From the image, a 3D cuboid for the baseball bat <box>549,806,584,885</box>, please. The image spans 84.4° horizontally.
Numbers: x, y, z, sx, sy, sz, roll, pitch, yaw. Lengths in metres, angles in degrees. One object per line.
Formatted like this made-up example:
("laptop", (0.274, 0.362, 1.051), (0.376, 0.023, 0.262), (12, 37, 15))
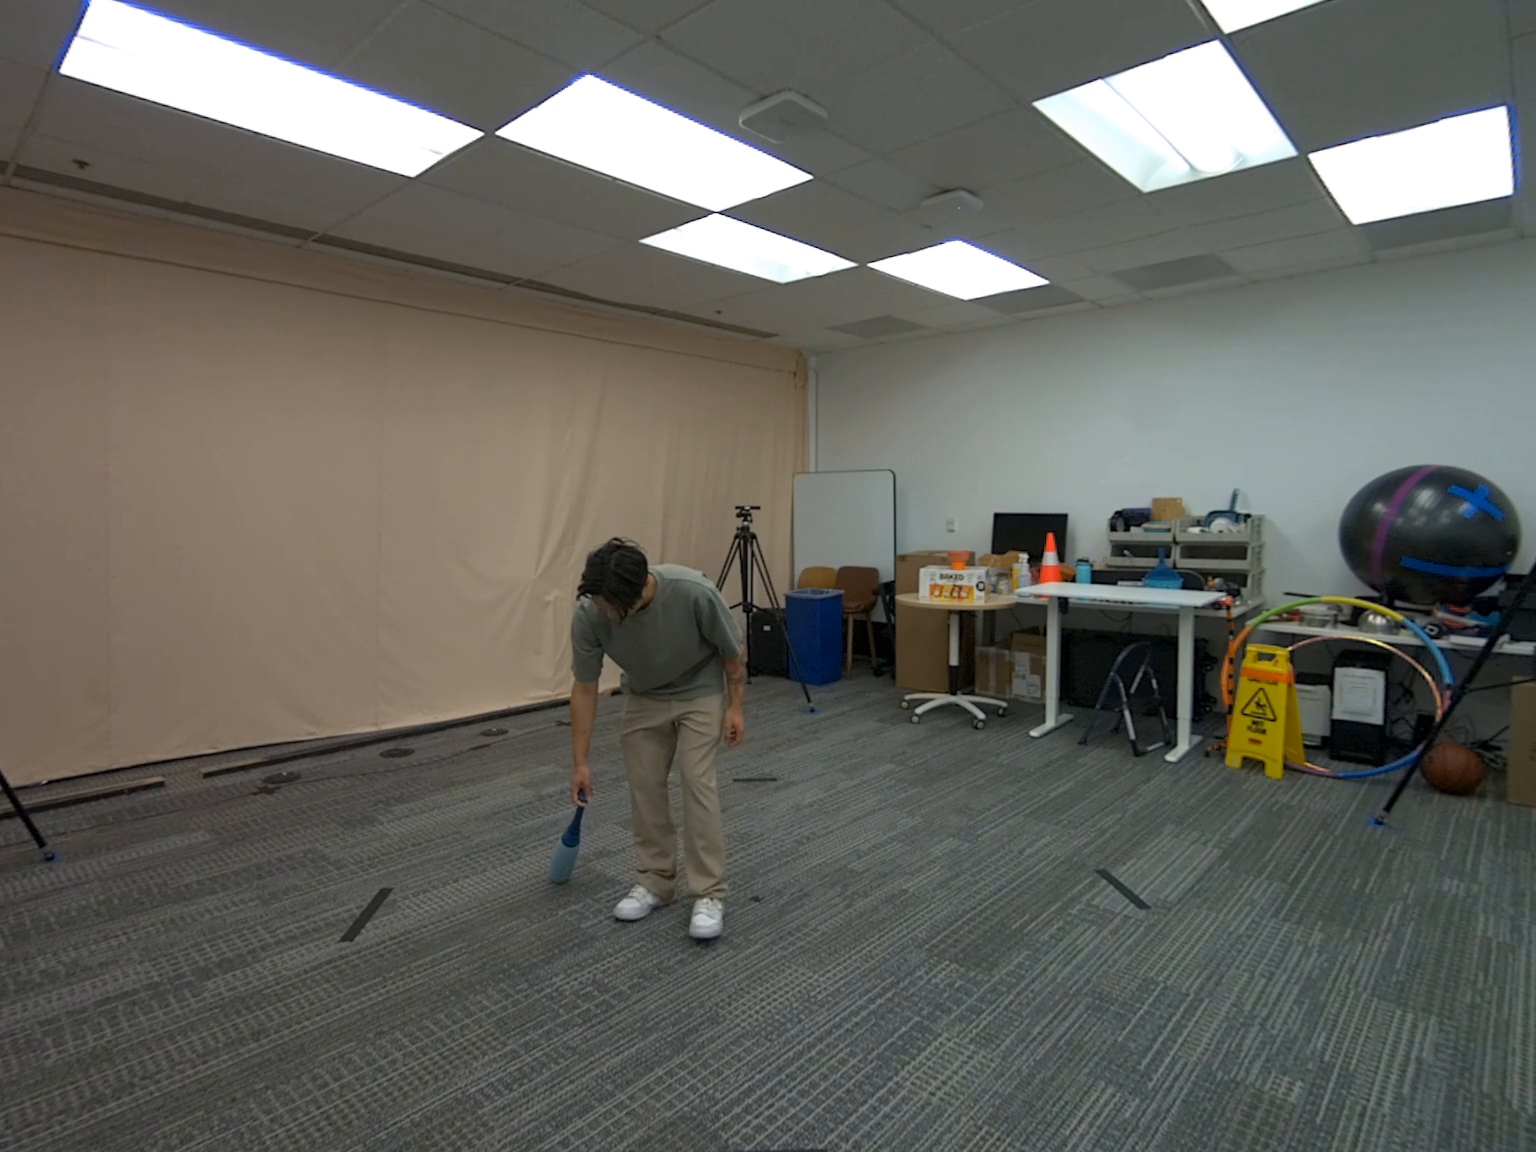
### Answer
("baseball bat", (-0.697, 0.933, 2.984), (0.088, 0.540, 0.091), (13, 40, -13))
